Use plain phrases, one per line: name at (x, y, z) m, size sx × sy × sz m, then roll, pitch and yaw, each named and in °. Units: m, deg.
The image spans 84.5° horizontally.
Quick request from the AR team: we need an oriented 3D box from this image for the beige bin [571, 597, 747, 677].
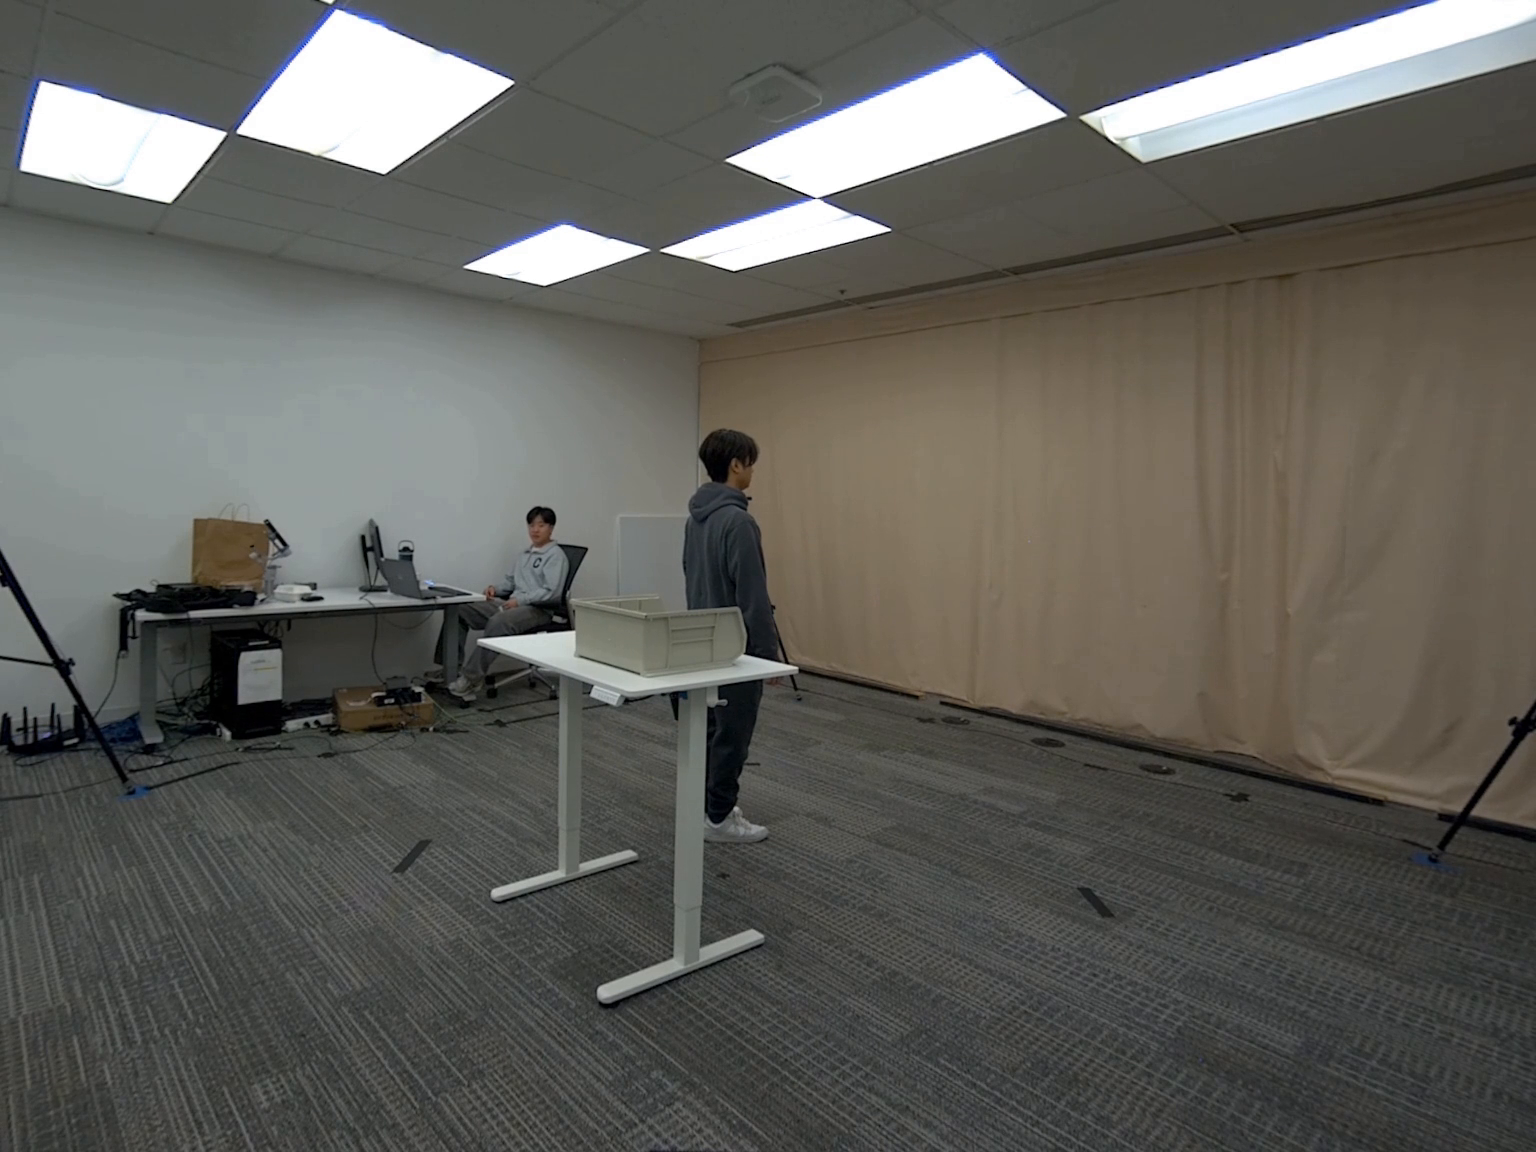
beige bin at (-0.349, 0.176, 2.591) m, size 0.369 × 0.188 × 0.433 m, roll -3°, pitch 6°, yaw -40°
